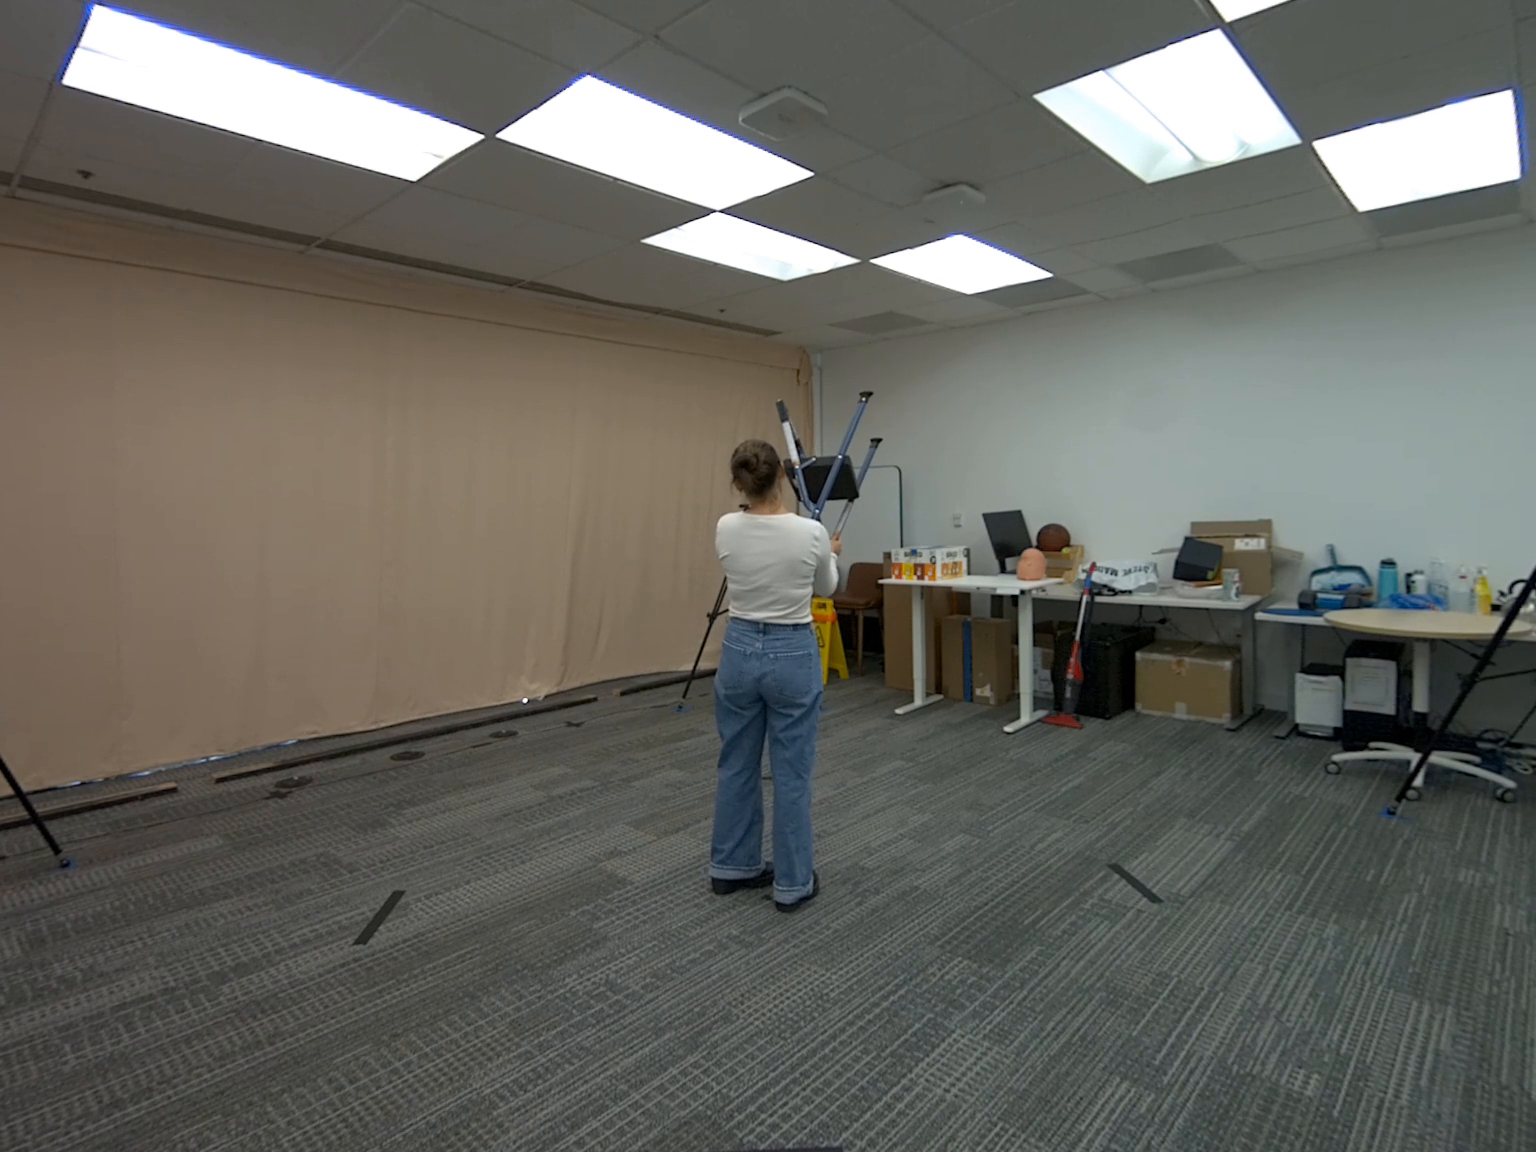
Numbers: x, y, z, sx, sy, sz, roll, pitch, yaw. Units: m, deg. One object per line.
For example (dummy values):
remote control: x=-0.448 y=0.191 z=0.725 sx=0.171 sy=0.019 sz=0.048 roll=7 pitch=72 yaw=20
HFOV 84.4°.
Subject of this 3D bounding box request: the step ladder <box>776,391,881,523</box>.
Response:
step ladder: x=0.233 y=-0.302 z=3.124 sx=0.355 sy=0.612 sz=0.419 roll=-1 pitch=-18 yaw=15
